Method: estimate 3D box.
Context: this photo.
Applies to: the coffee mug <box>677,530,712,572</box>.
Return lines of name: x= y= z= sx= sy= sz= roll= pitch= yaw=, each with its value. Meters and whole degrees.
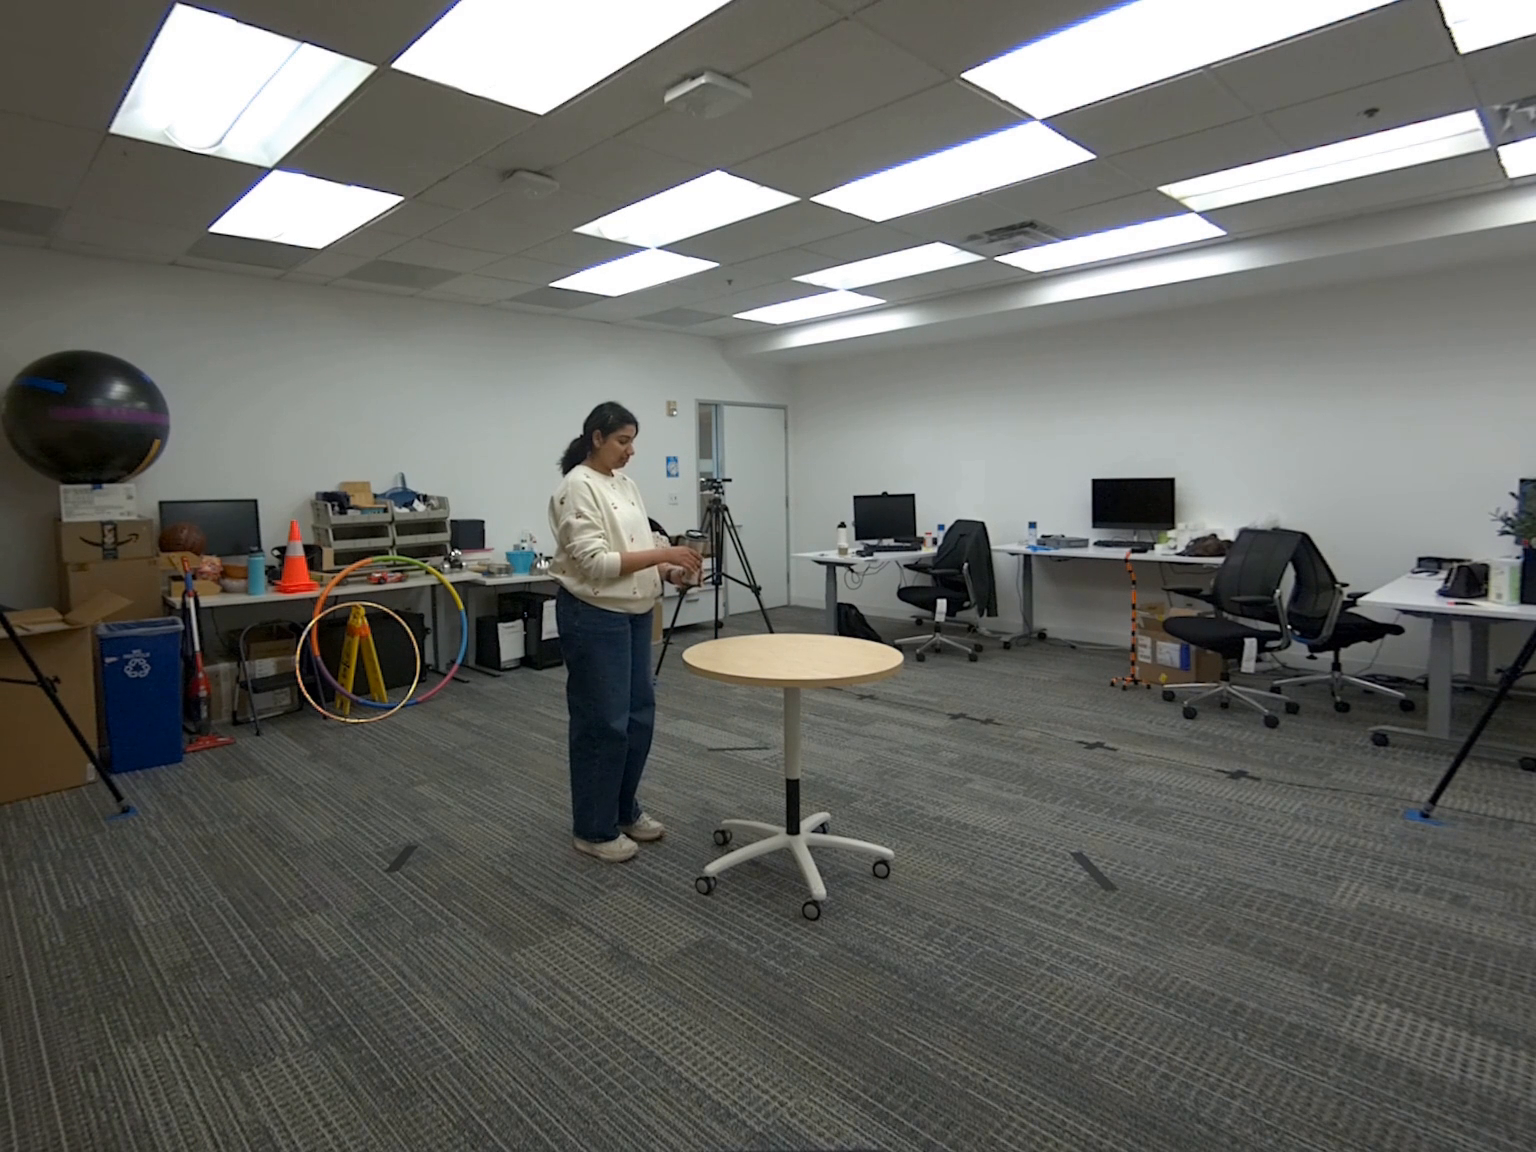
coffee mug: x=-0.301 y=-0.068 z=3.214 sx=0.125 sy=0.201 sz=0.086 roll=15 pitch=14 yaw=21
